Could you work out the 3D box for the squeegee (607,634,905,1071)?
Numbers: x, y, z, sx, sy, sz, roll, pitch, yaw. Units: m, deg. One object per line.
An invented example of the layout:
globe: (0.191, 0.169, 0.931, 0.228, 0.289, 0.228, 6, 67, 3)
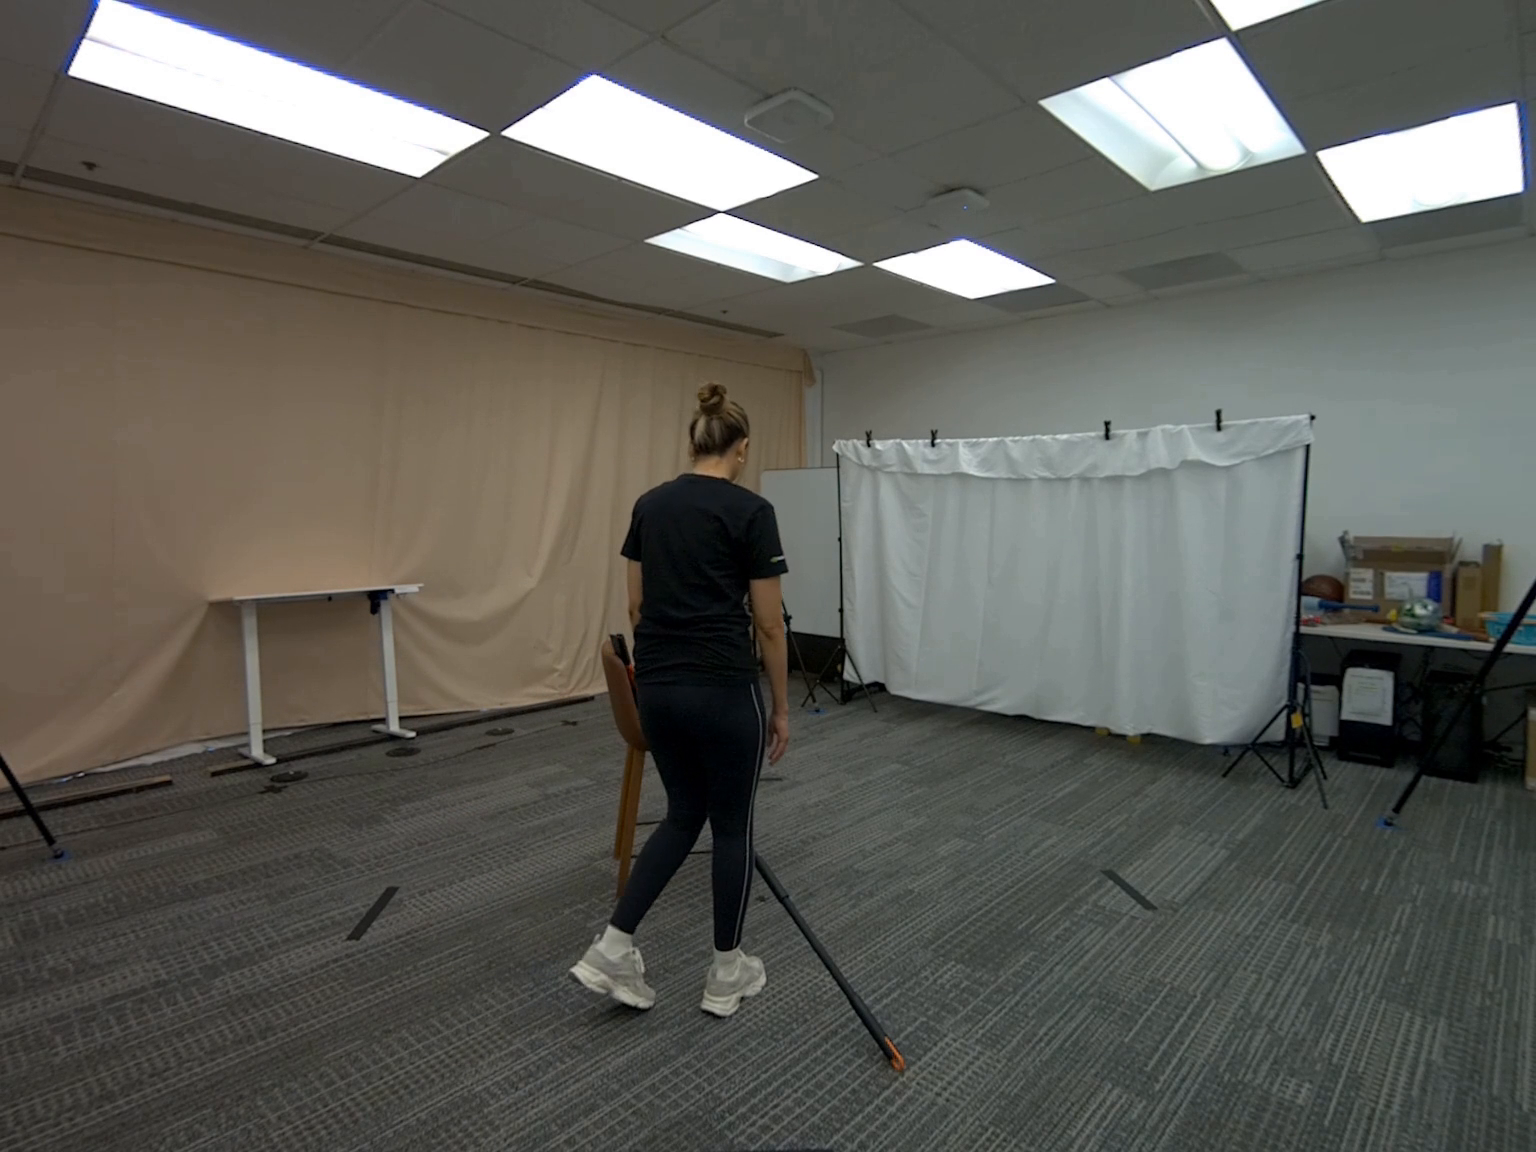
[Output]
squeegee: (-0.081, 0.757, 2.608, 0.052, 0.429, 1.593, -22, 45, -26)
